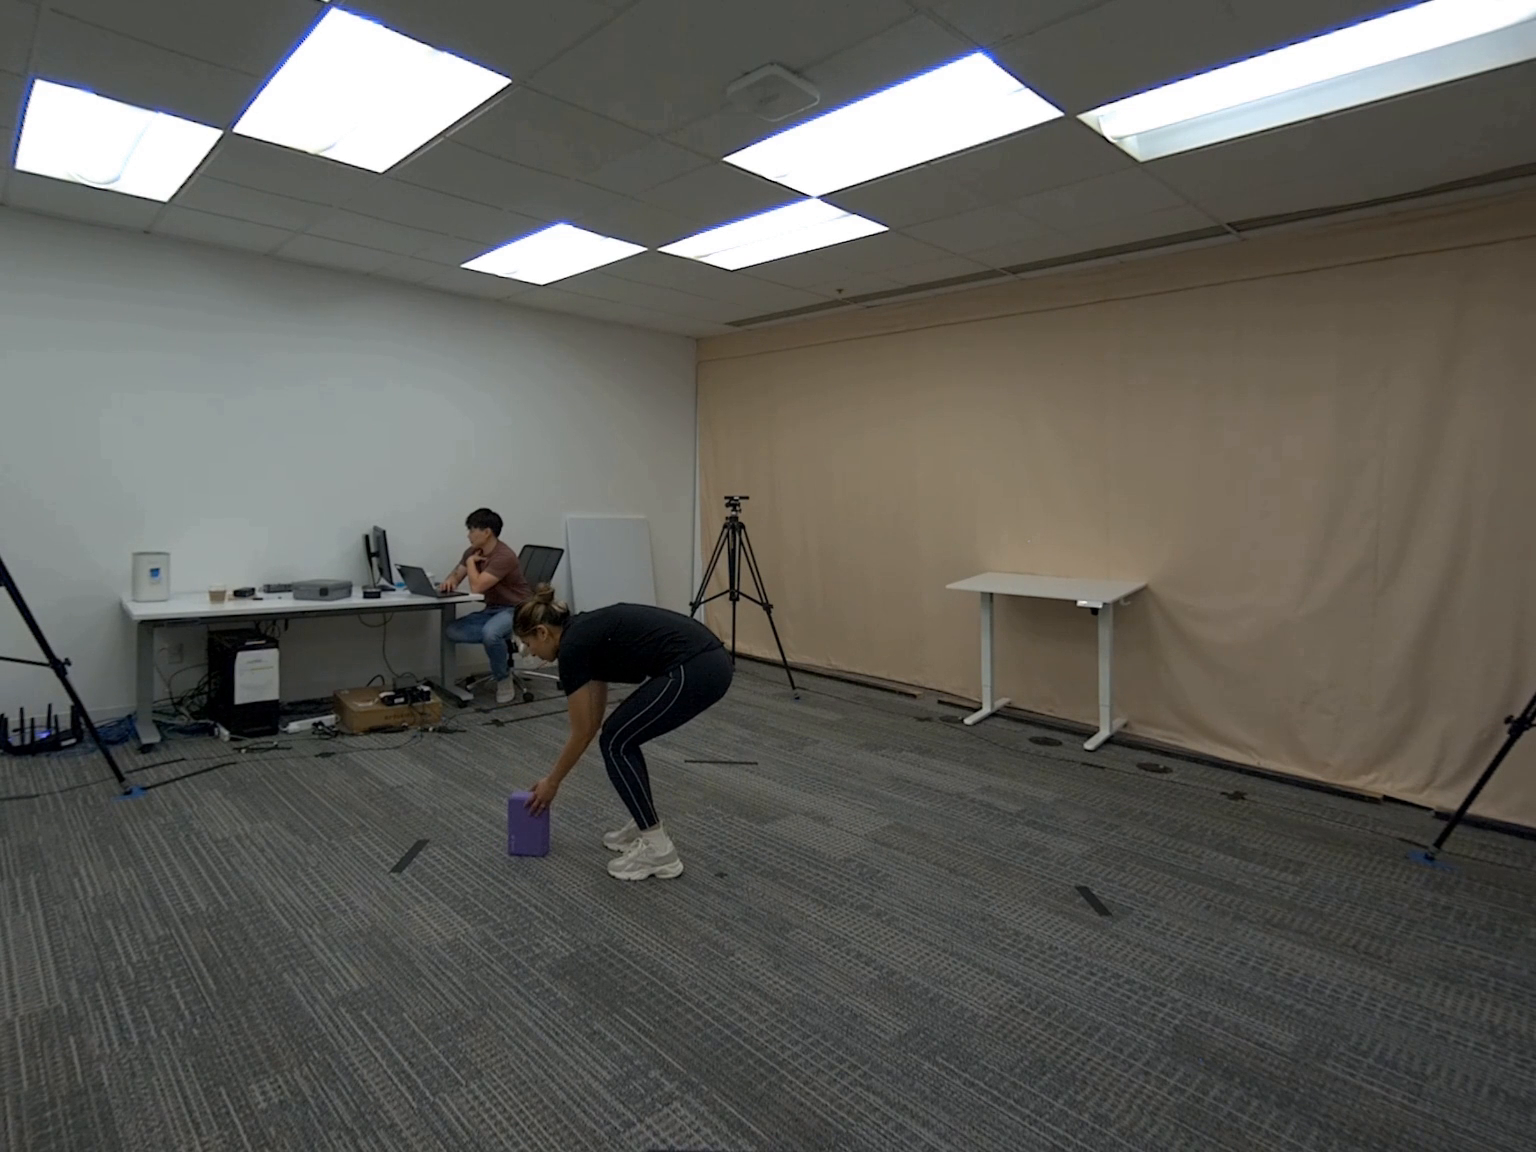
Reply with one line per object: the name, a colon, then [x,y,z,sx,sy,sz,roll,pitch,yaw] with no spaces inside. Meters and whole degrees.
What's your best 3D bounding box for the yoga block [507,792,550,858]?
yoga block: [-0.931,0.962,3.255,0.150,0.229,0.076,0,3,7]
